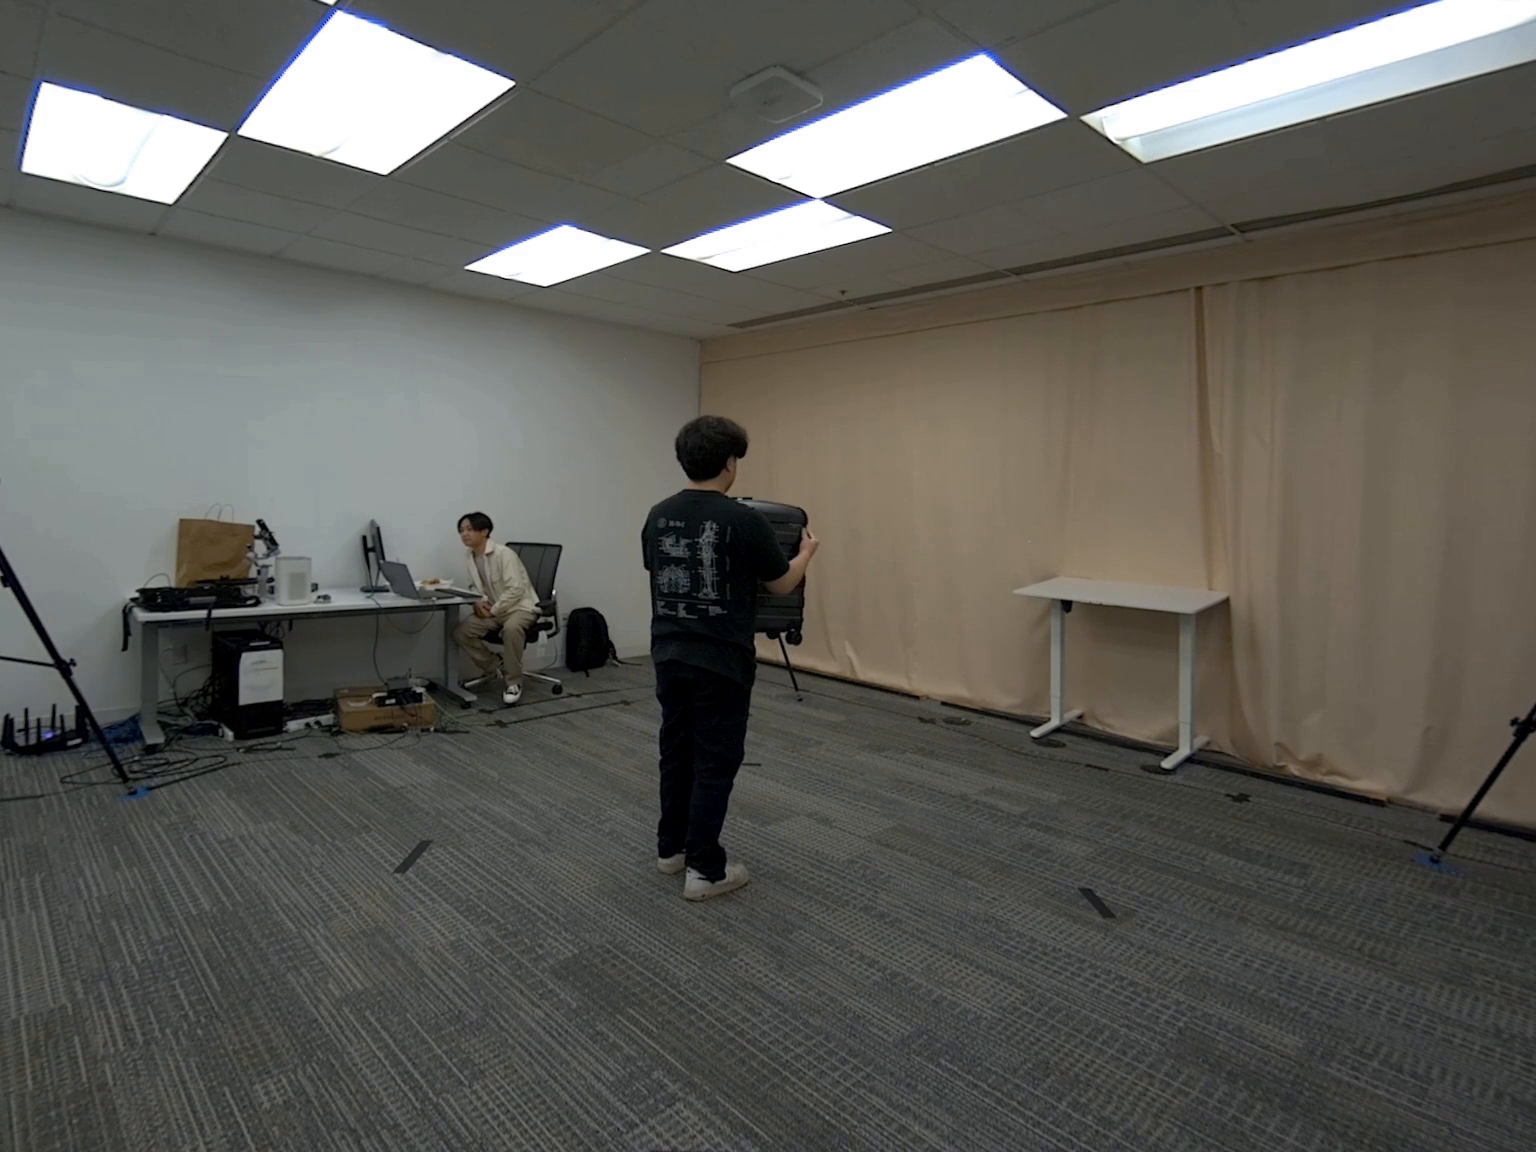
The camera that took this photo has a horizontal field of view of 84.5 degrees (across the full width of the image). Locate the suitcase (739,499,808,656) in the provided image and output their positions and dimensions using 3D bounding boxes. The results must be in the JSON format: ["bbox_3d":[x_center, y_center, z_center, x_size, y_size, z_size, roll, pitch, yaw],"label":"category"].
[{"bbox_3d":[-0.041,-0.016,3.294,0.369,0.550,0.252,4,-1,-22],"label":"suitcase"}]
